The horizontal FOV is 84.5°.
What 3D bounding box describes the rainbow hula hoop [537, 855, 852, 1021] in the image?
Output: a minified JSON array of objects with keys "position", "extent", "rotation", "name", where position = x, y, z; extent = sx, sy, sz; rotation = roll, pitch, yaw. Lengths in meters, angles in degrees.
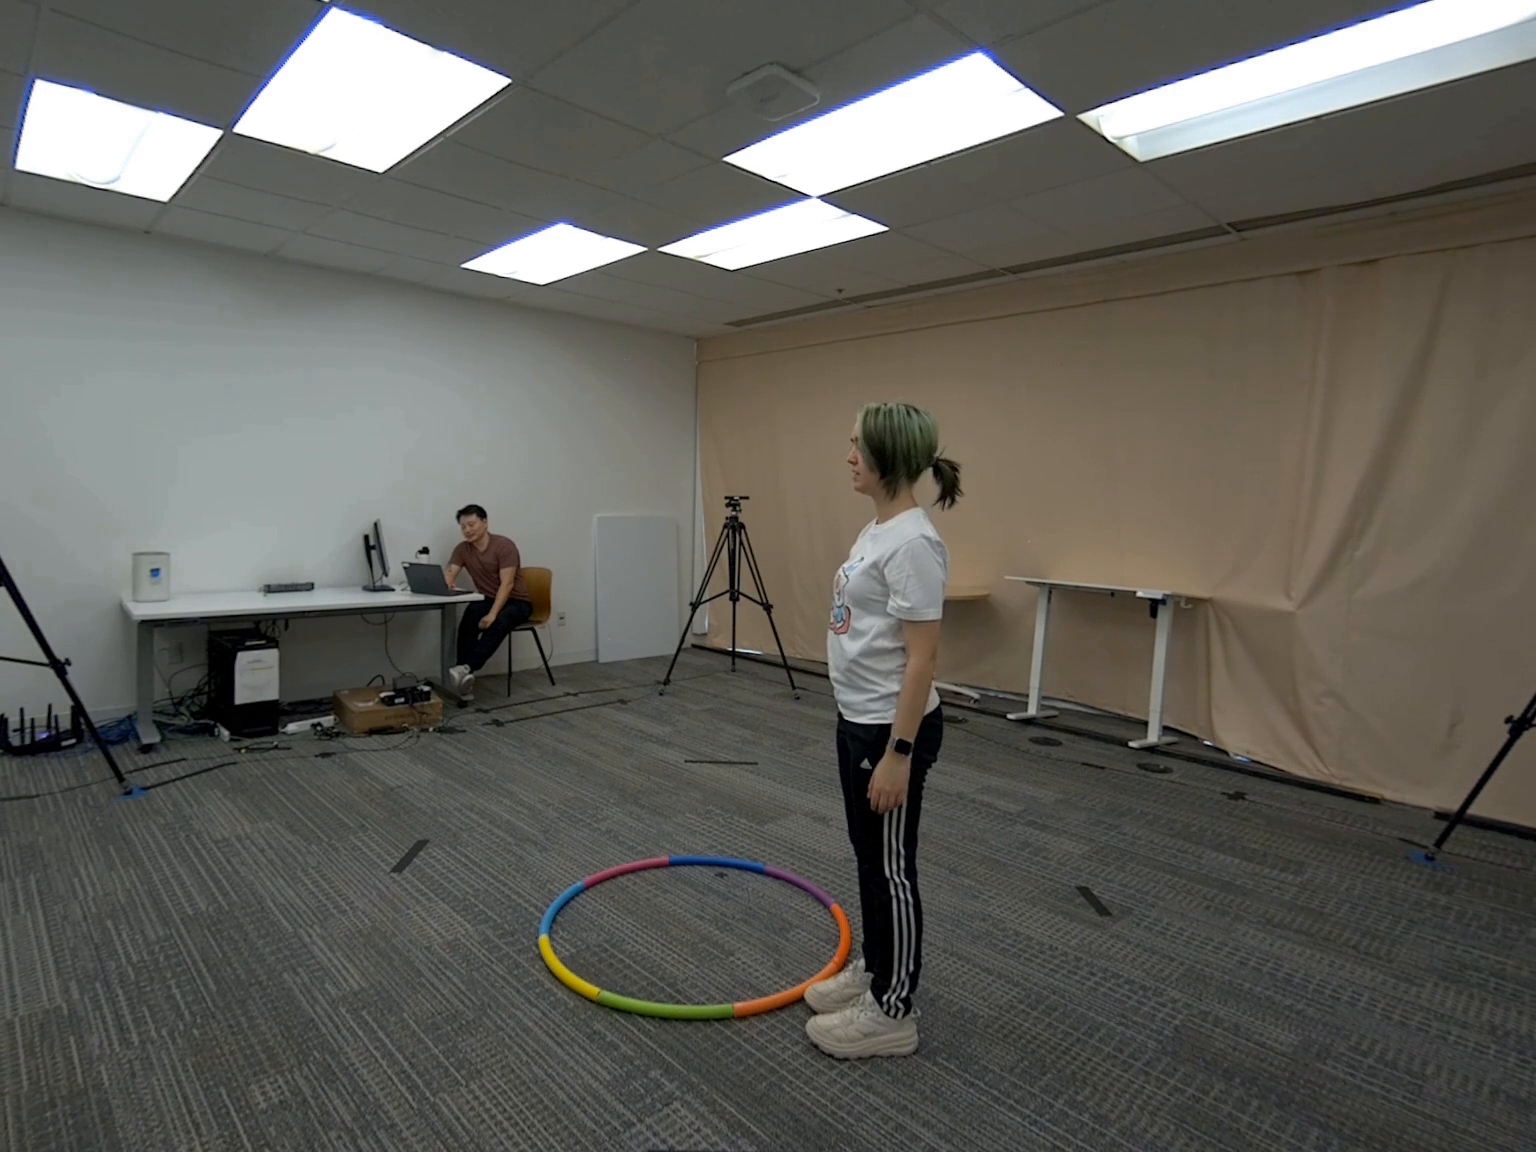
[{"position":[-0.238,1.110,2.716],"extent":[0.978,0.035,0.982],"rotation":[1,5,-1],"name":"rainbow hula hoop"}]
